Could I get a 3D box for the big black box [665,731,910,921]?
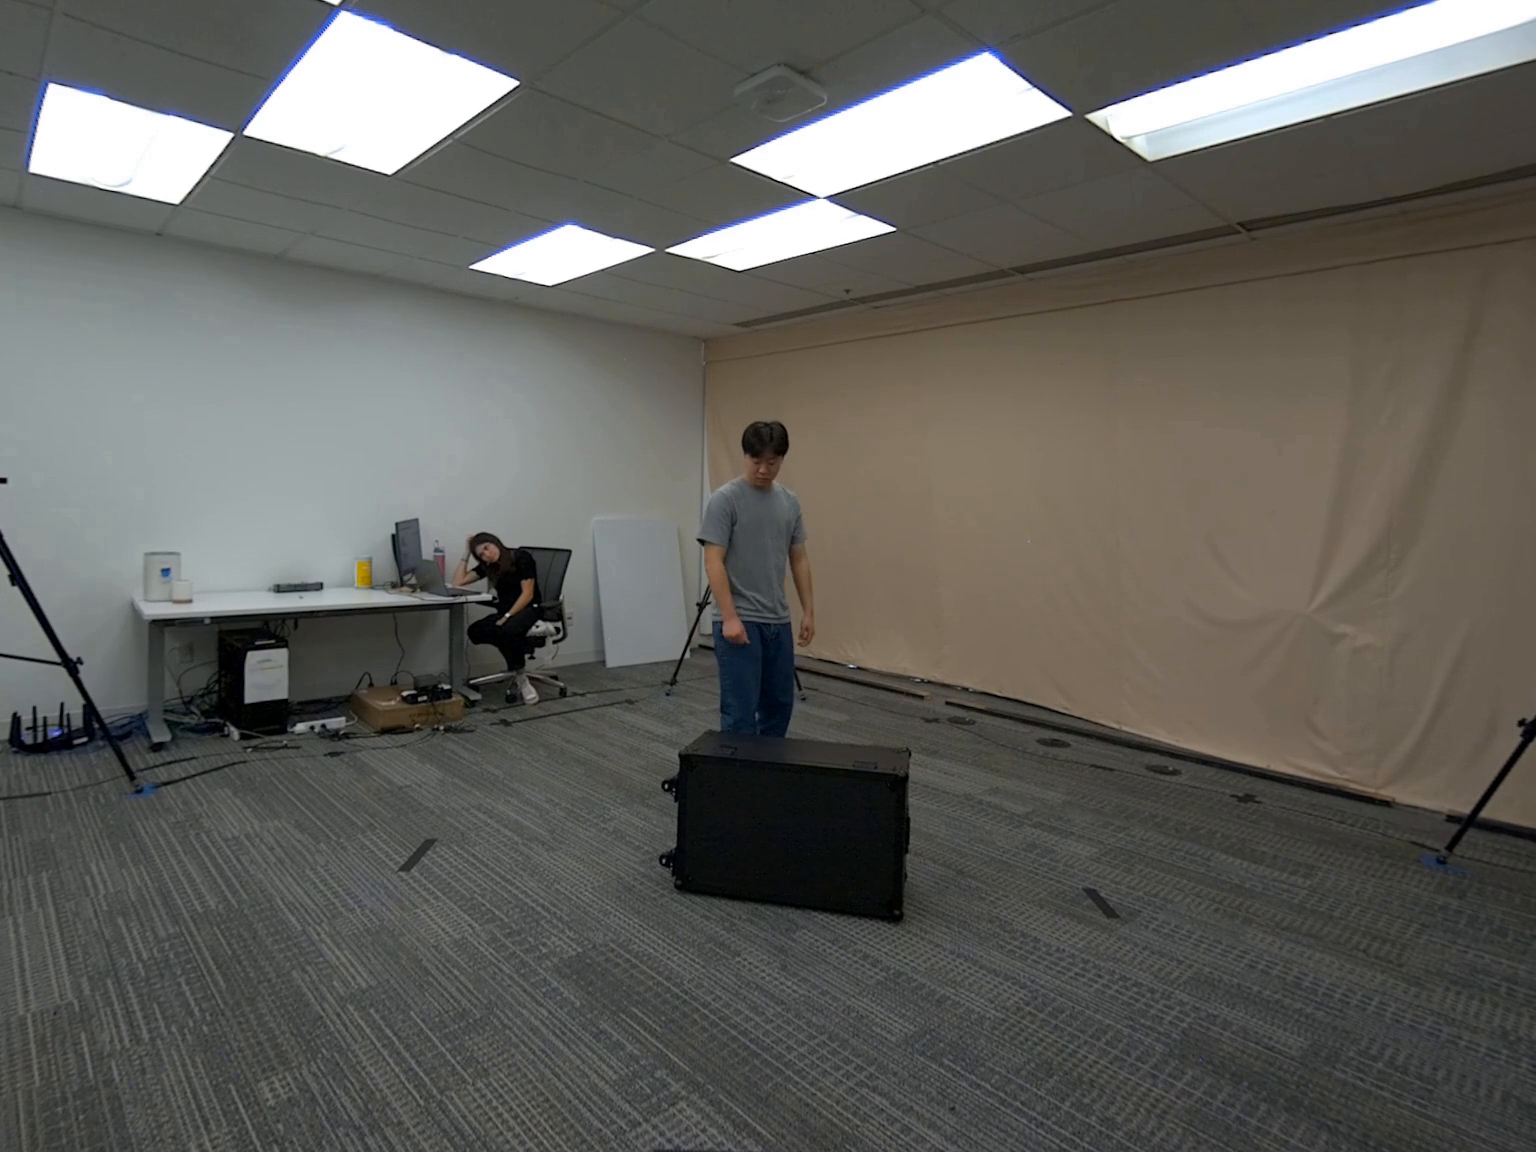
[{"bbox_3d":[0.125,0.869,3.024,0.871,0.520,0.392,2,2,14],"label":"big black box"}]
